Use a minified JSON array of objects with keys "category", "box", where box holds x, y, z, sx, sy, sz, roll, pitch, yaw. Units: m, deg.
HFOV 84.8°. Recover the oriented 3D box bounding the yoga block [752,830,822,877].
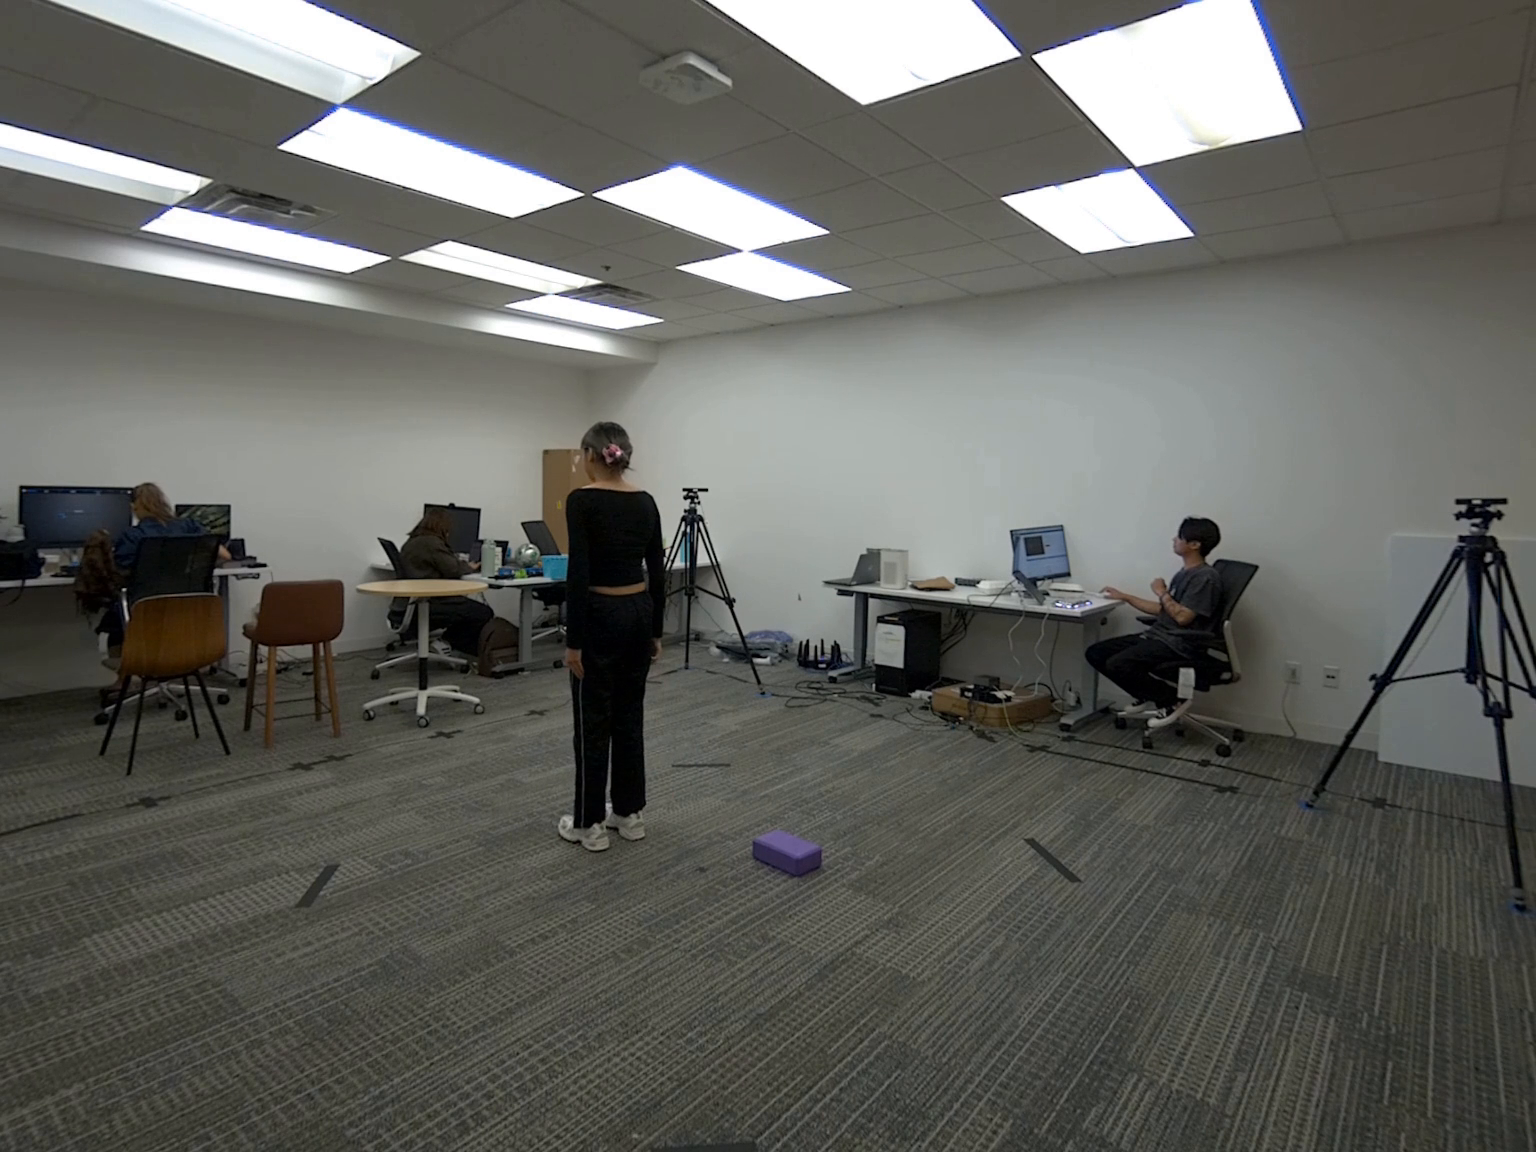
[{"category":"yoga block","box":[0.065,1.031,3.183,0.237,0.076,0.144,6,7,43]}]
